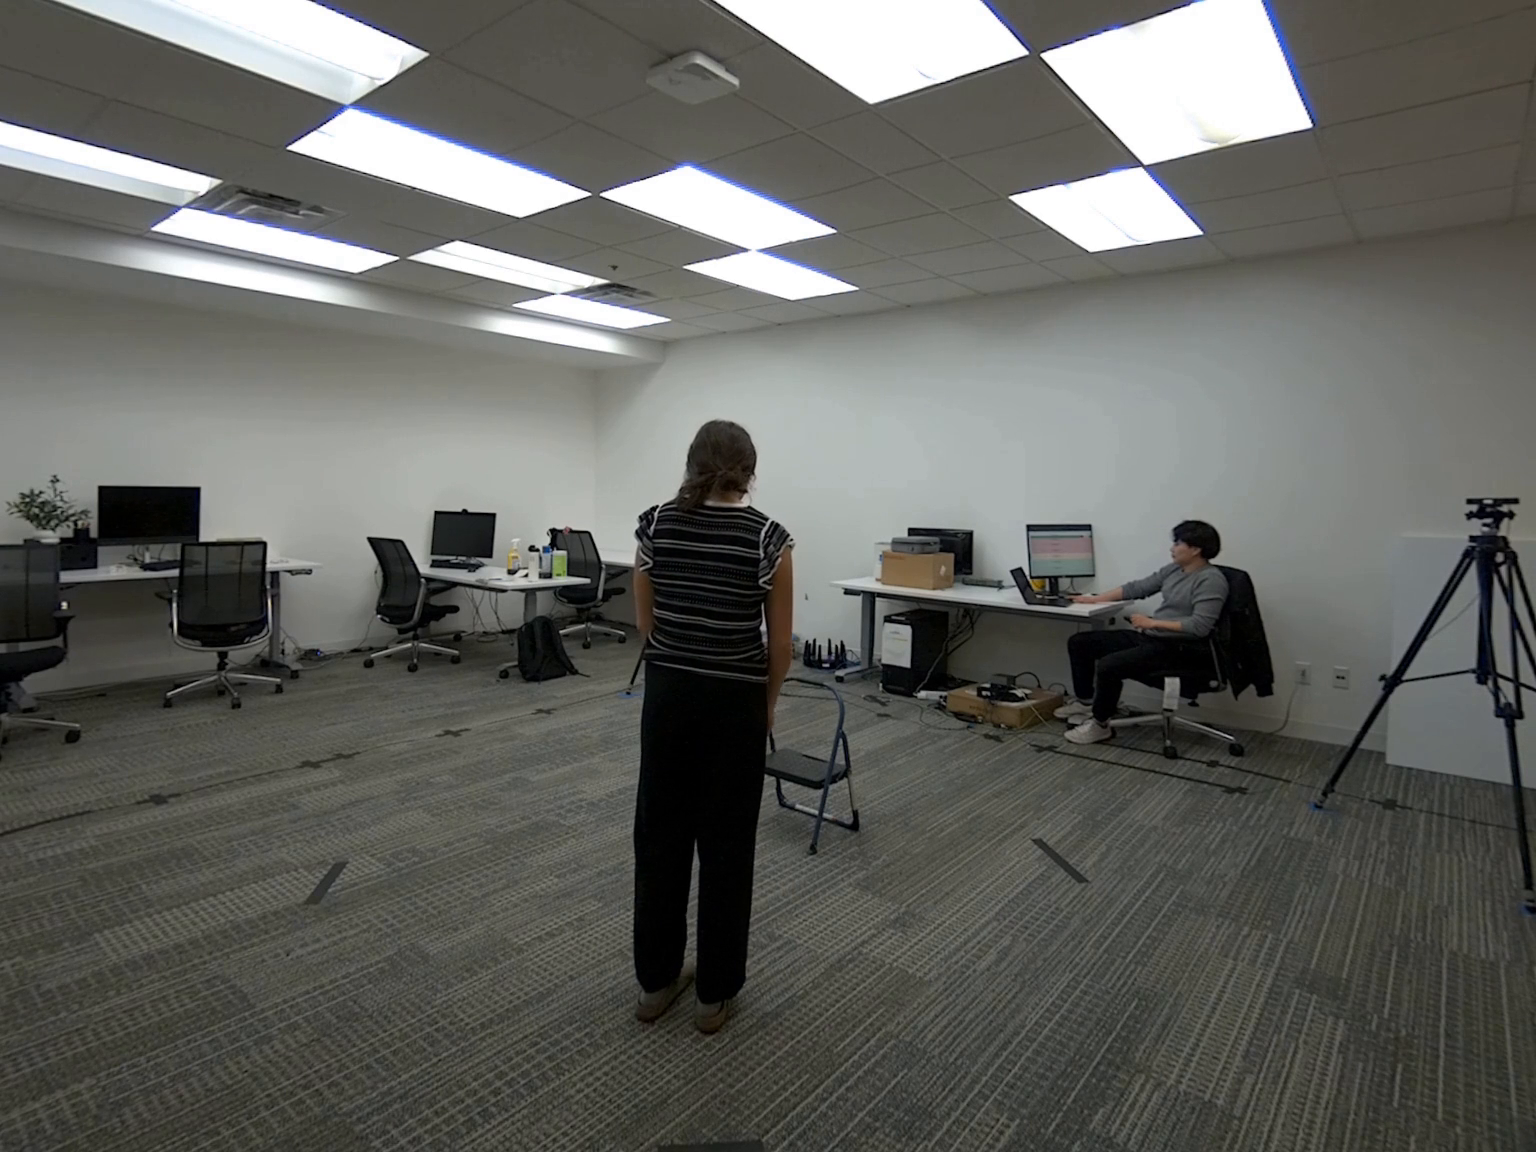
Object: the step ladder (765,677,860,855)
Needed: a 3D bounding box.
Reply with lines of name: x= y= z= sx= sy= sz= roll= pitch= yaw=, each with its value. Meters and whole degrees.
step ladder: x=0.114 y=0.734 z=3.494 sx=0.445 sy=0.604 sz=0.339 roll=4 pitch=4 yaw=40
